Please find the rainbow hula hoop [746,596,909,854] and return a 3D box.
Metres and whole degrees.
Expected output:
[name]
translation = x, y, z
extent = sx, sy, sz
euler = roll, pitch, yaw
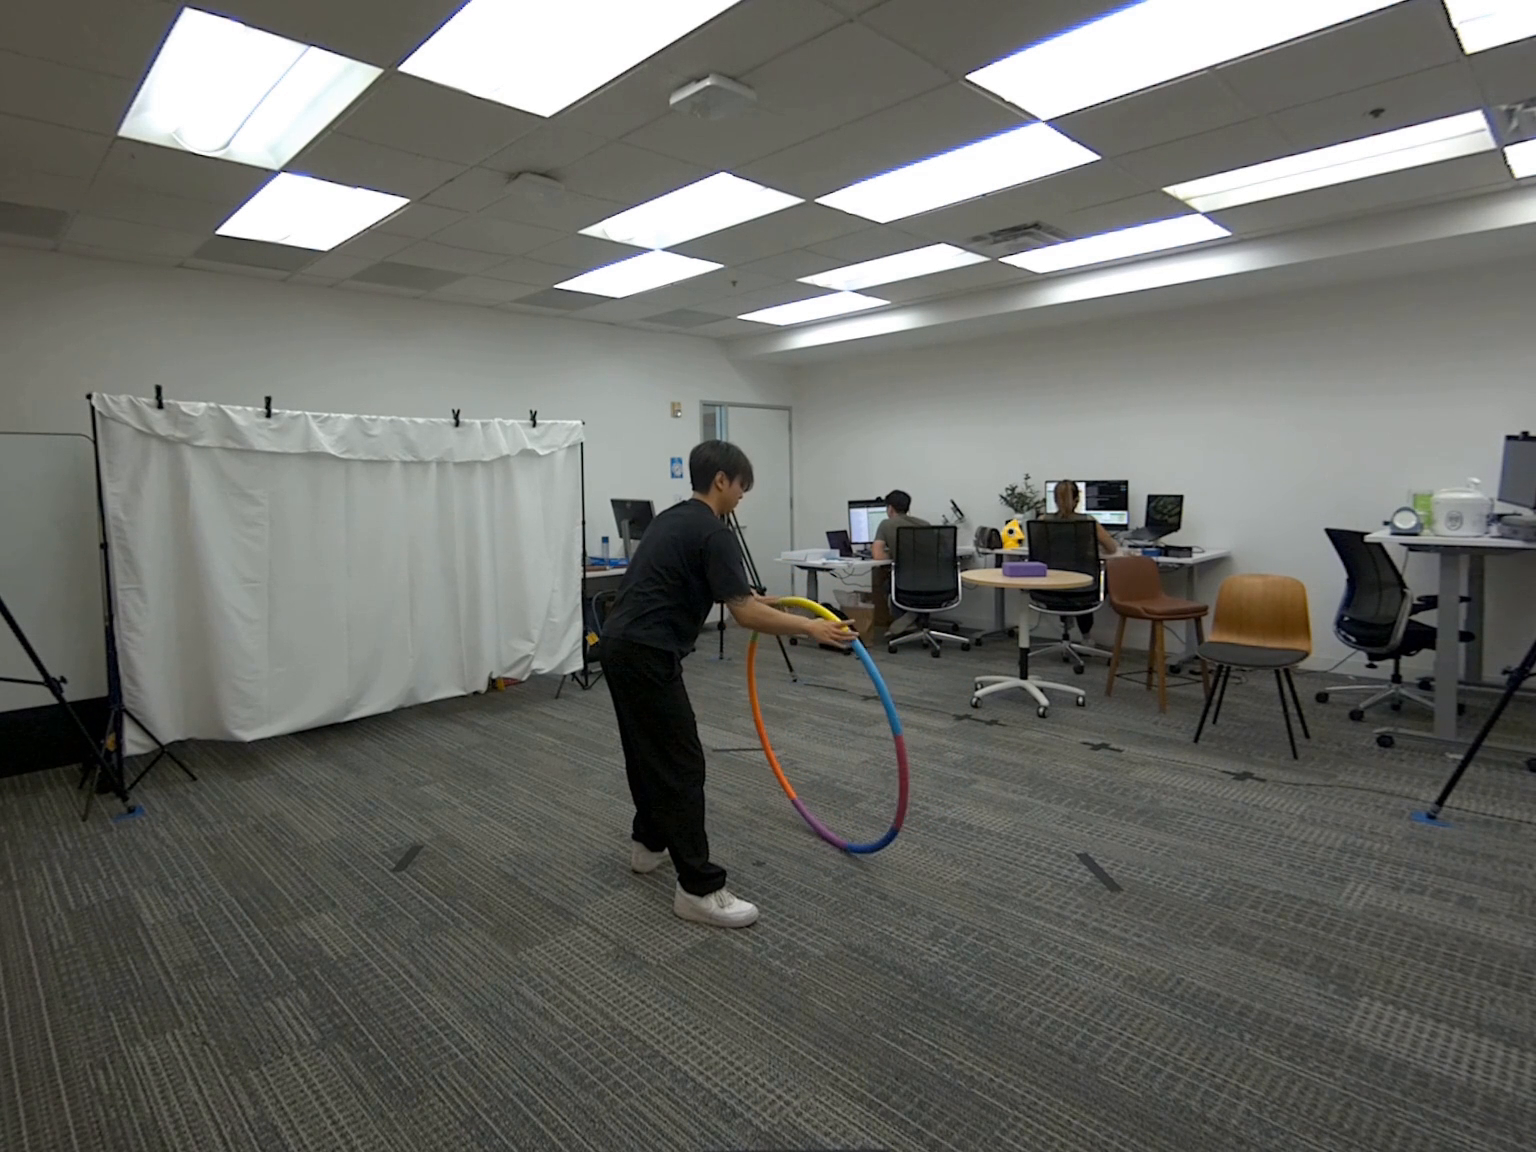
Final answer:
[rainbow hula hoop]
translation = 0.187, 0.557, 3.211
extent = 0.035, 0.970, 1.006
euler = -13, 10, -29
